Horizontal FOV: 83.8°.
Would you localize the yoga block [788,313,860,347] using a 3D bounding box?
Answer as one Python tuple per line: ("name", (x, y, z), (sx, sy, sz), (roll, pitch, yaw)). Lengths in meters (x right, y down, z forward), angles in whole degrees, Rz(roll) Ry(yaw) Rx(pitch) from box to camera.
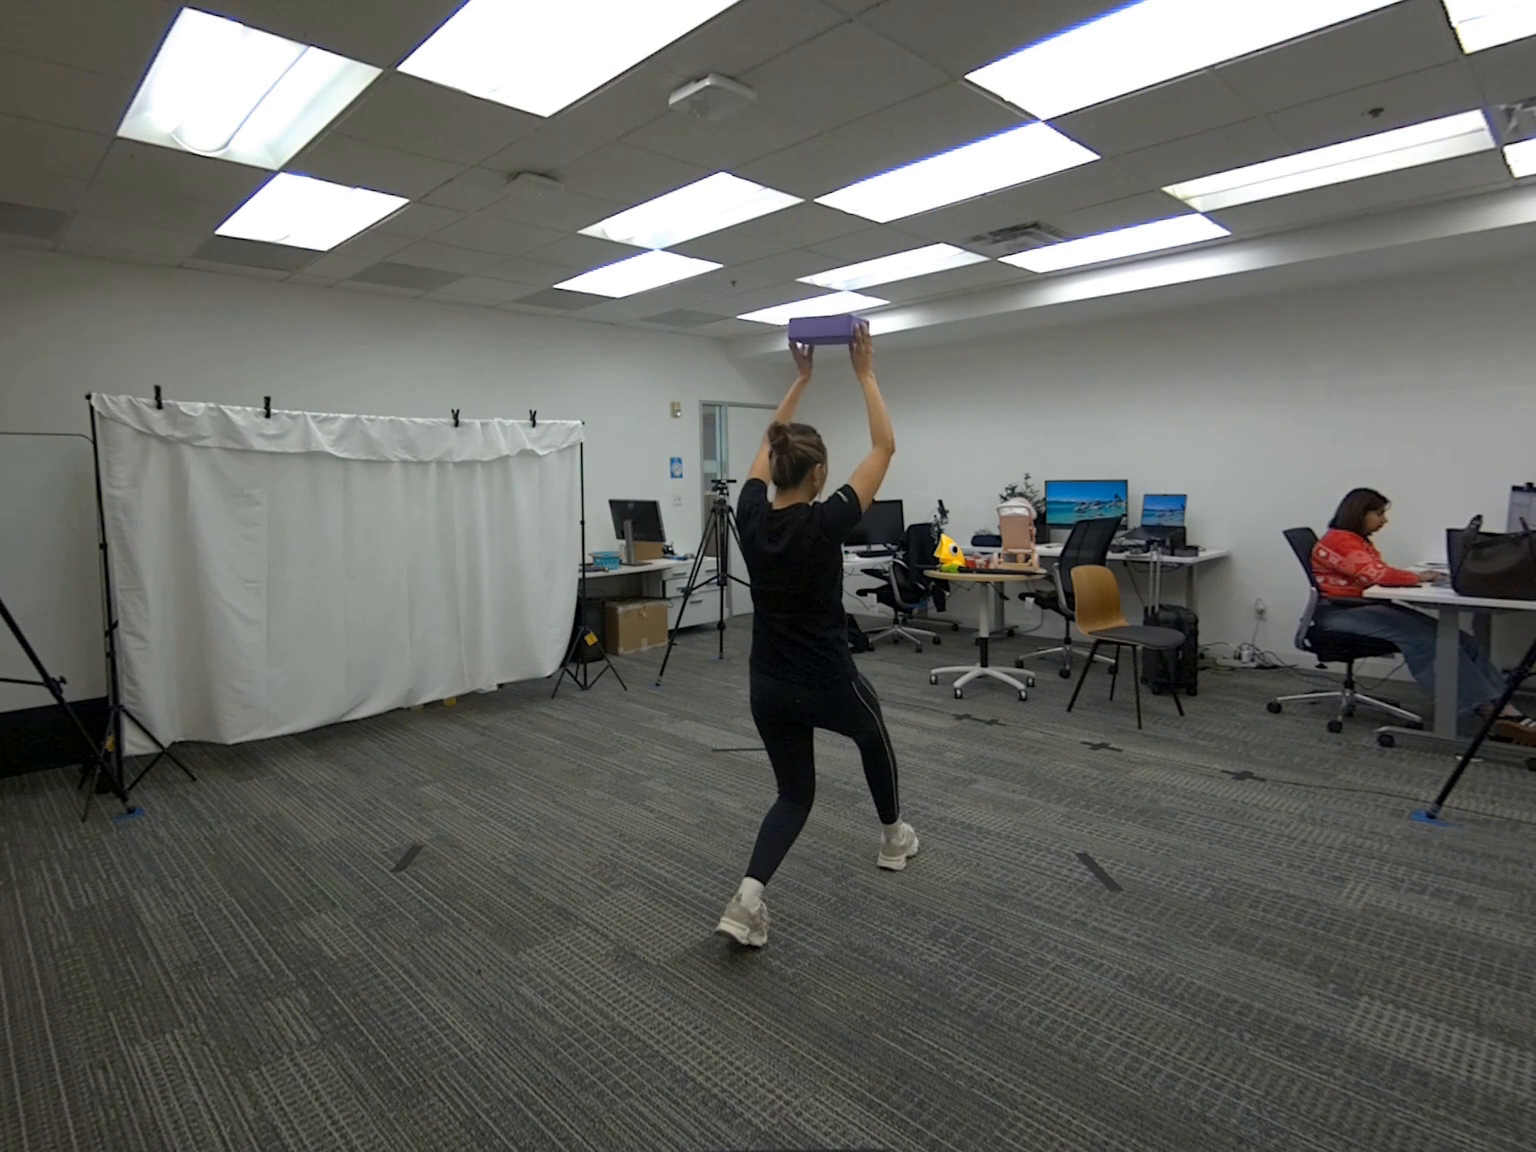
("yoga block", (0.204, -0.802, 2.772), (0.236, 0.076, 0.145), (7, 7, 35))
